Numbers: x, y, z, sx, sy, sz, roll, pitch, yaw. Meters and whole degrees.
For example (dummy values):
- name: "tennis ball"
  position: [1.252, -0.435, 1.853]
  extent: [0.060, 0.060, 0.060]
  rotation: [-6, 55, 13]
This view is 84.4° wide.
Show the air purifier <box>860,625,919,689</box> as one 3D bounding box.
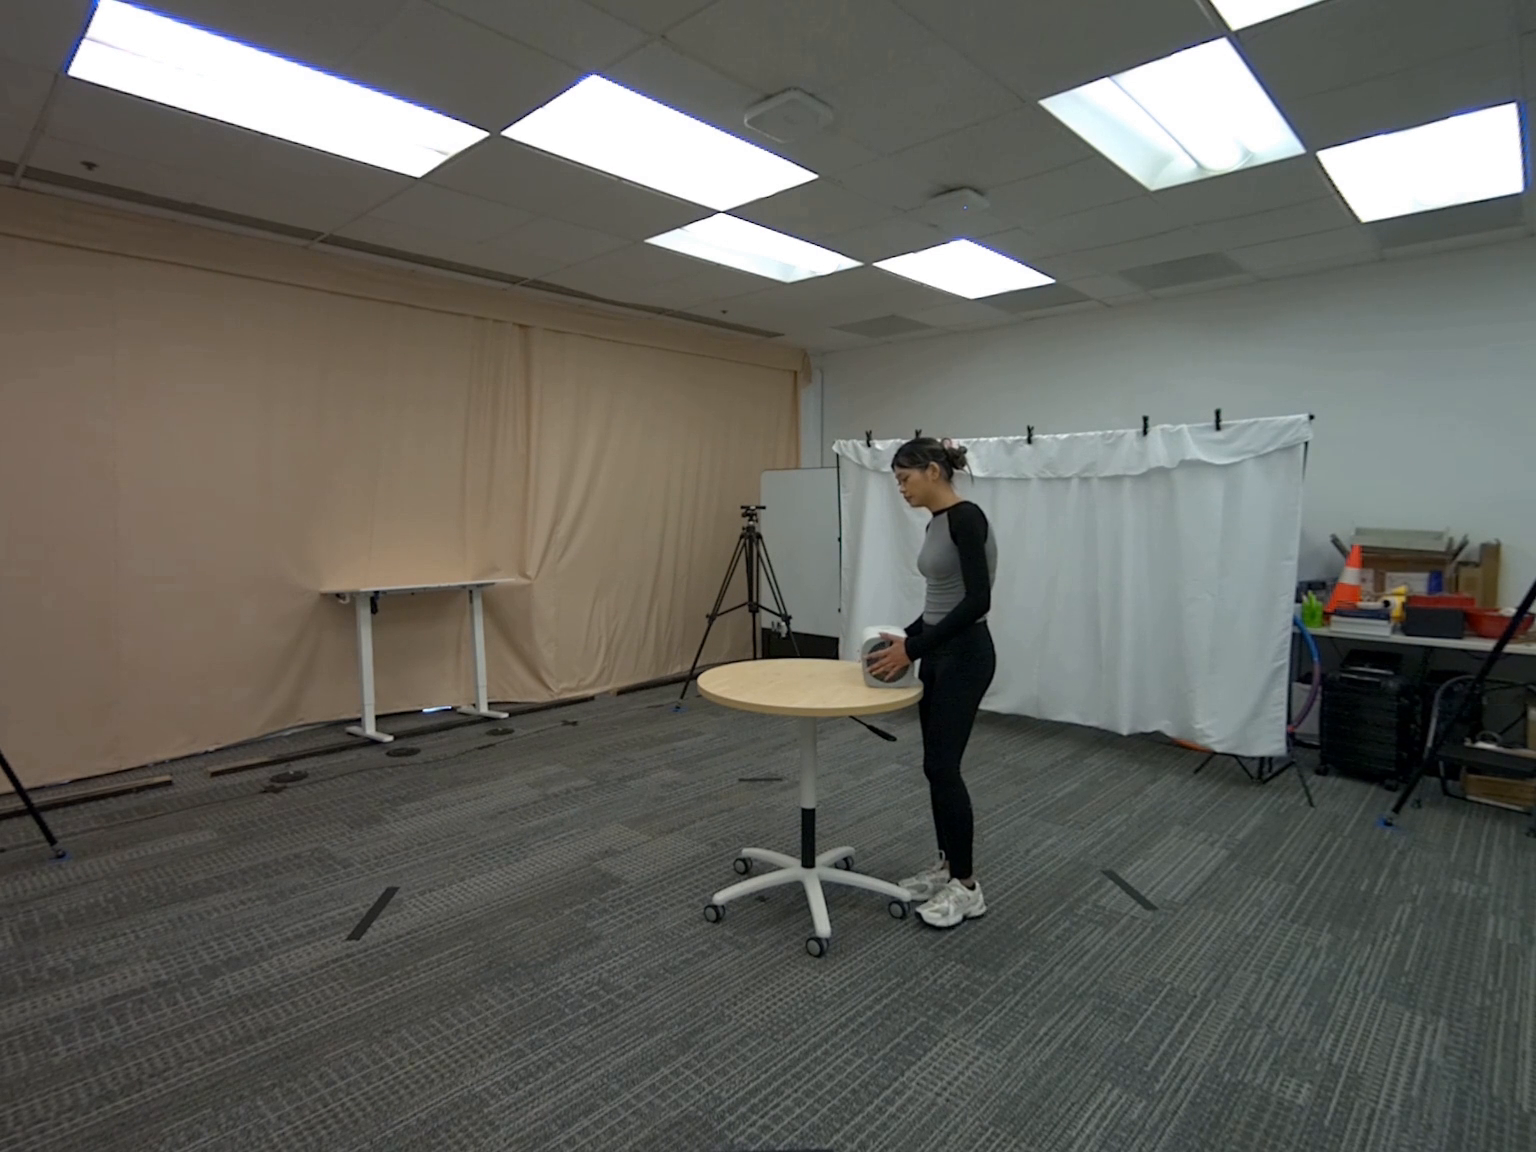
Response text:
- name: "air purifier"
  position: [0.414, 0.274, 2.884]
  extent: [0.172, 0.171, 0.264]
  rotation: [-1, 4, 6]
